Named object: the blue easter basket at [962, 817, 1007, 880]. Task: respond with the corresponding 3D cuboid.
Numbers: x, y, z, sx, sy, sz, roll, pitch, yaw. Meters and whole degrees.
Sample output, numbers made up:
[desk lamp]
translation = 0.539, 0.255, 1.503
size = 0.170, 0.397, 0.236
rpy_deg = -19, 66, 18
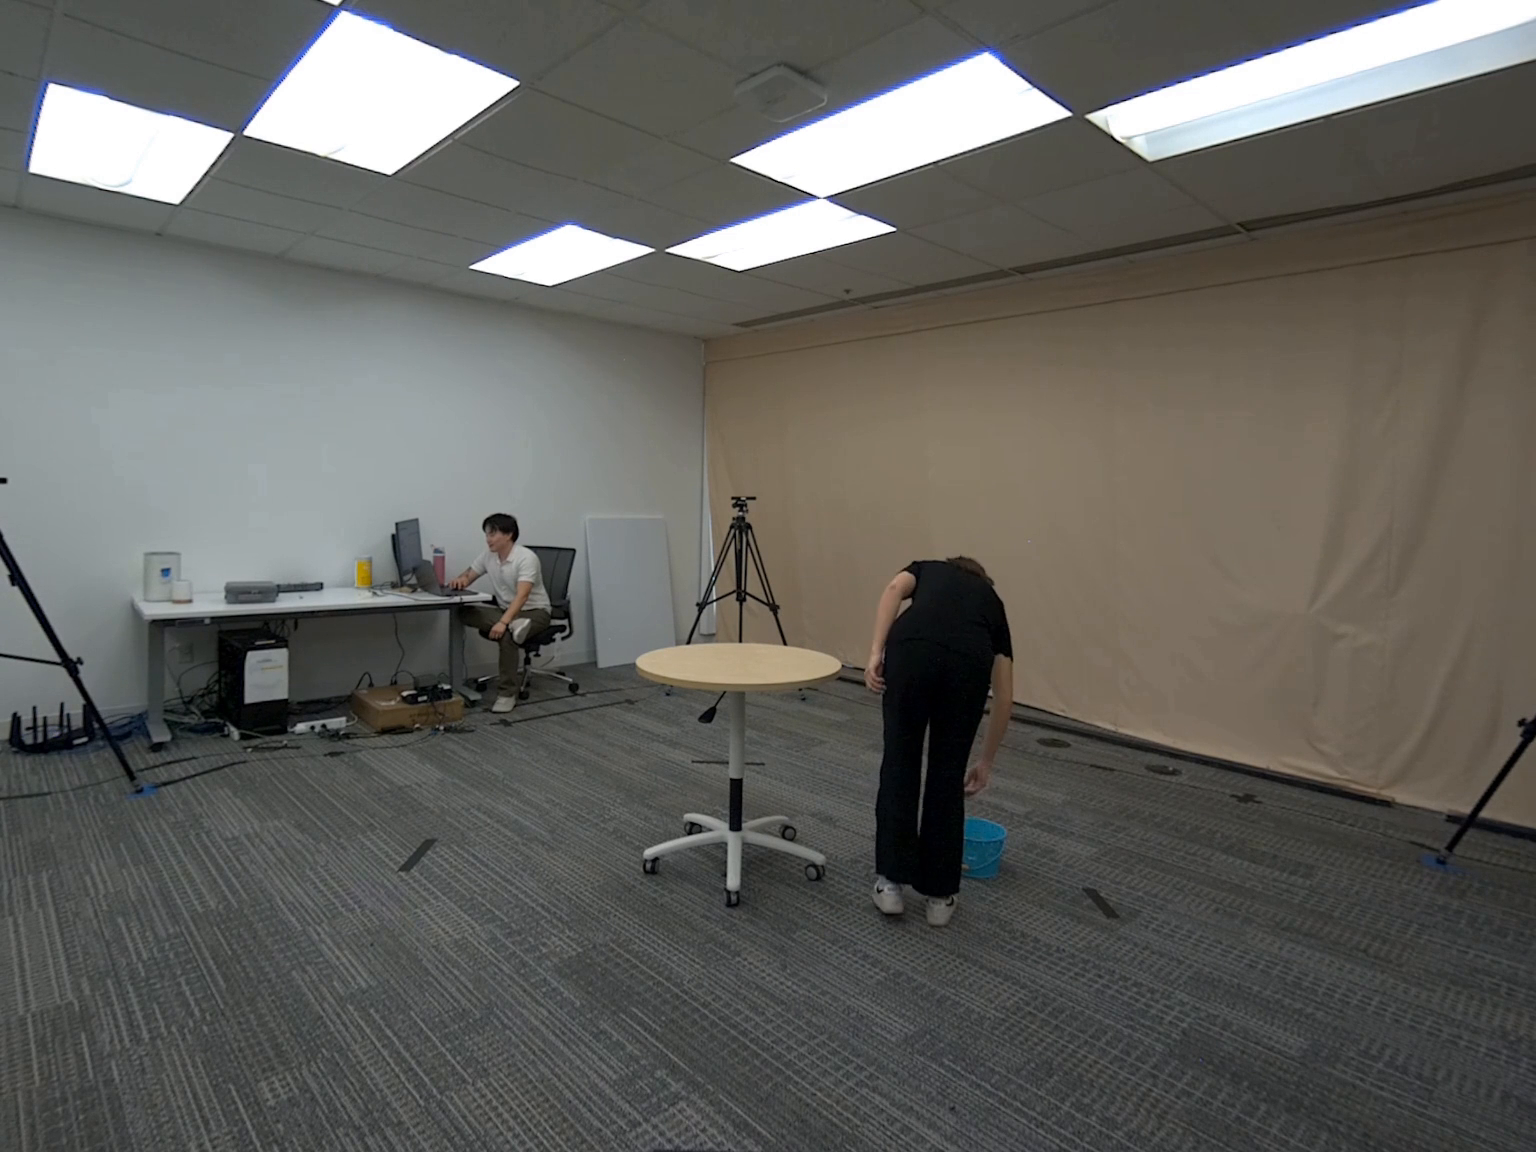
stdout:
[blue easter basket]
translation = 0.779, 1.040, 3.234
size = 0.243, 0.155, 0.244
rpy_deg = 2, 4, -1
